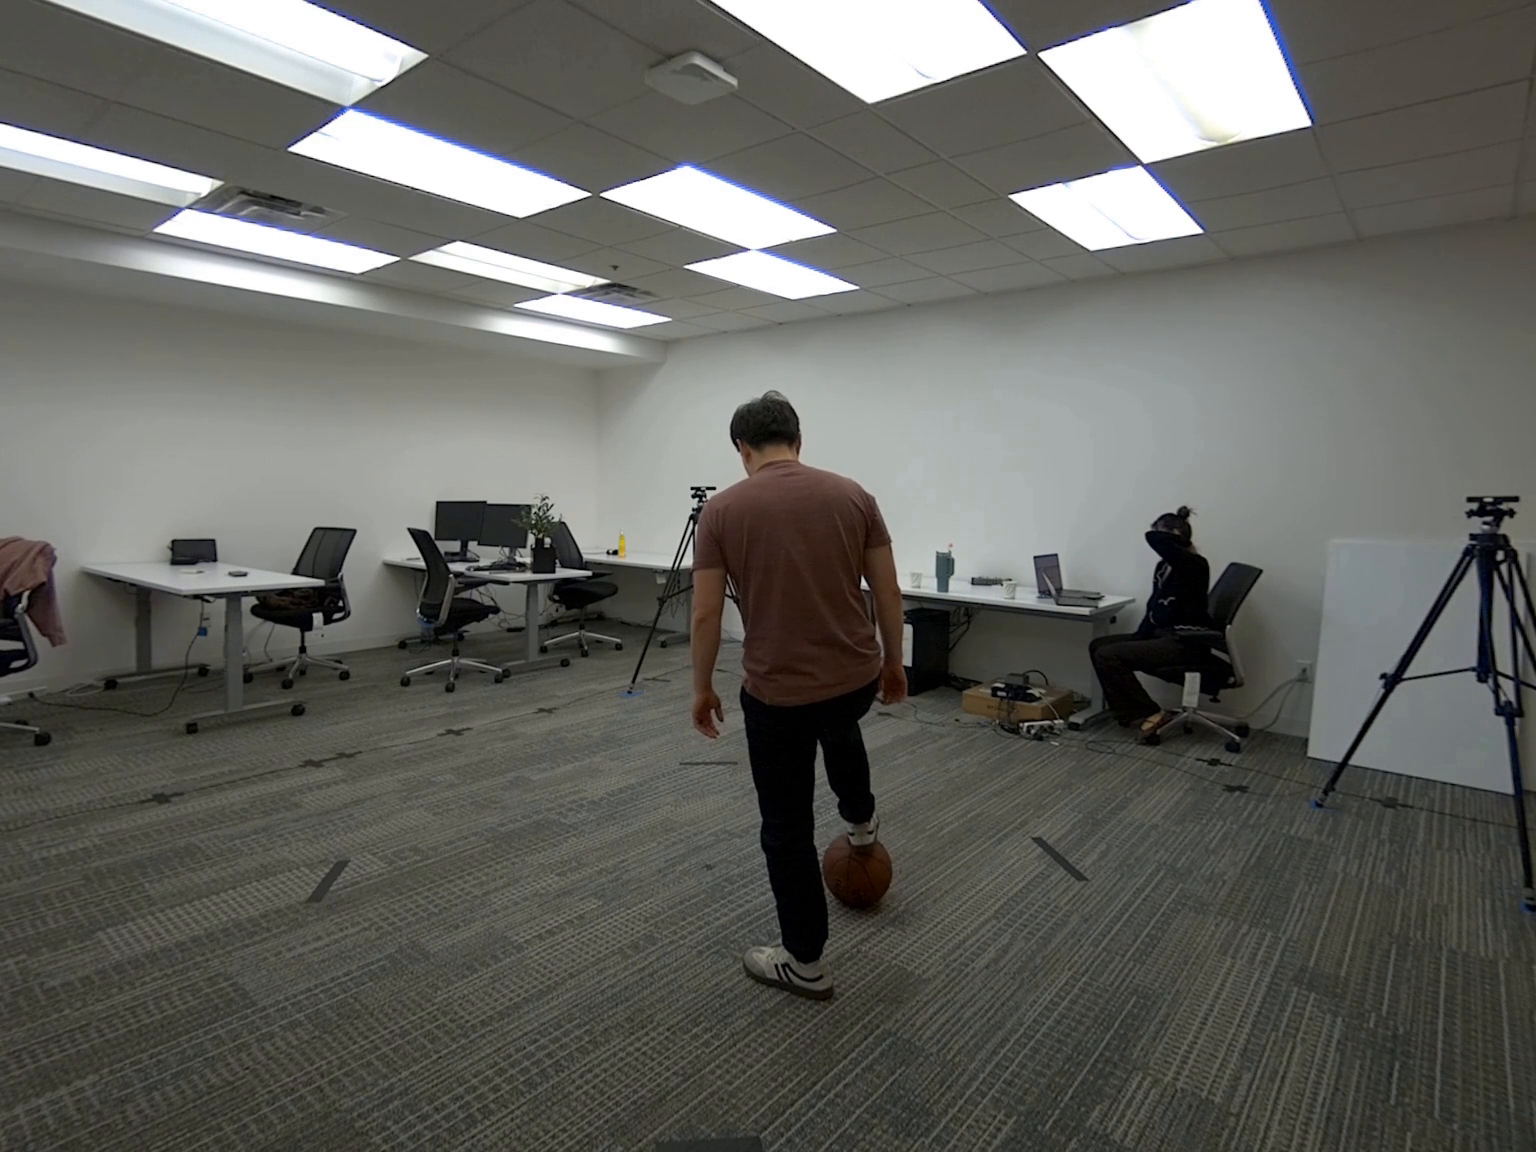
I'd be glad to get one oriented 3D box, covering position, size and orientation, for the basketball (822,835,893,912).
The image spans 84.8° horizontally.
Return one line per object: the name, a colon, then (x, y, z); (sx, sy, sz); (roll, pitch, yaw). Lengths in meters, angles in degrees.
basketball: (0.294, 0.989, 2.876); (0.235, 0.235, 0.237); (1, 4, -2)
